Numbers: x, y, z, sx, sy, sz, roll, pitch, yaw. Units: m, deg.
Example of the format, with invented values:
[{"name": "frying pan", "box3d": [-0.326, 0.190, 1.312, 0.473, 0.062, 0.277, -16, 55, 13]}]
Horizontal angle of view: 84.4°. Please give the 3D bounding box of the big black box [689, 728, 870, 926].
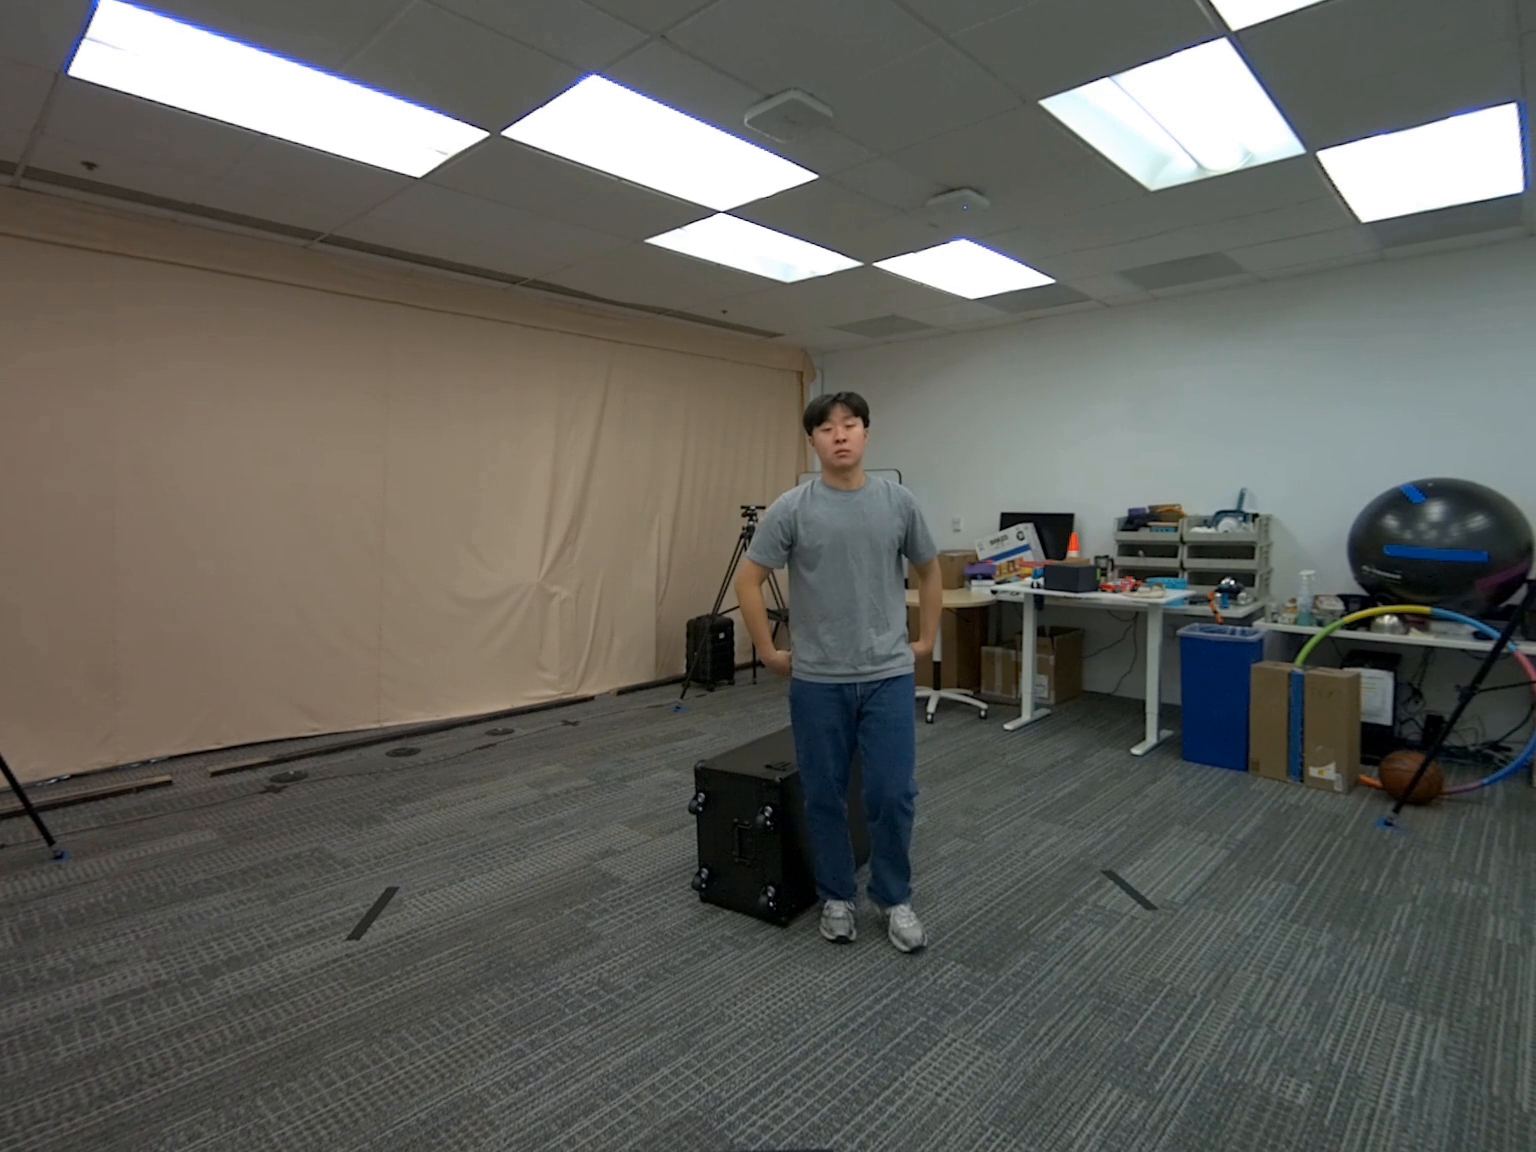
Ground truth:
[{"name": "big black box", "box3d": [0.078, 0.871, 3.154, 0.408, 0.520, 0.837, 0, 4, 33]}]
